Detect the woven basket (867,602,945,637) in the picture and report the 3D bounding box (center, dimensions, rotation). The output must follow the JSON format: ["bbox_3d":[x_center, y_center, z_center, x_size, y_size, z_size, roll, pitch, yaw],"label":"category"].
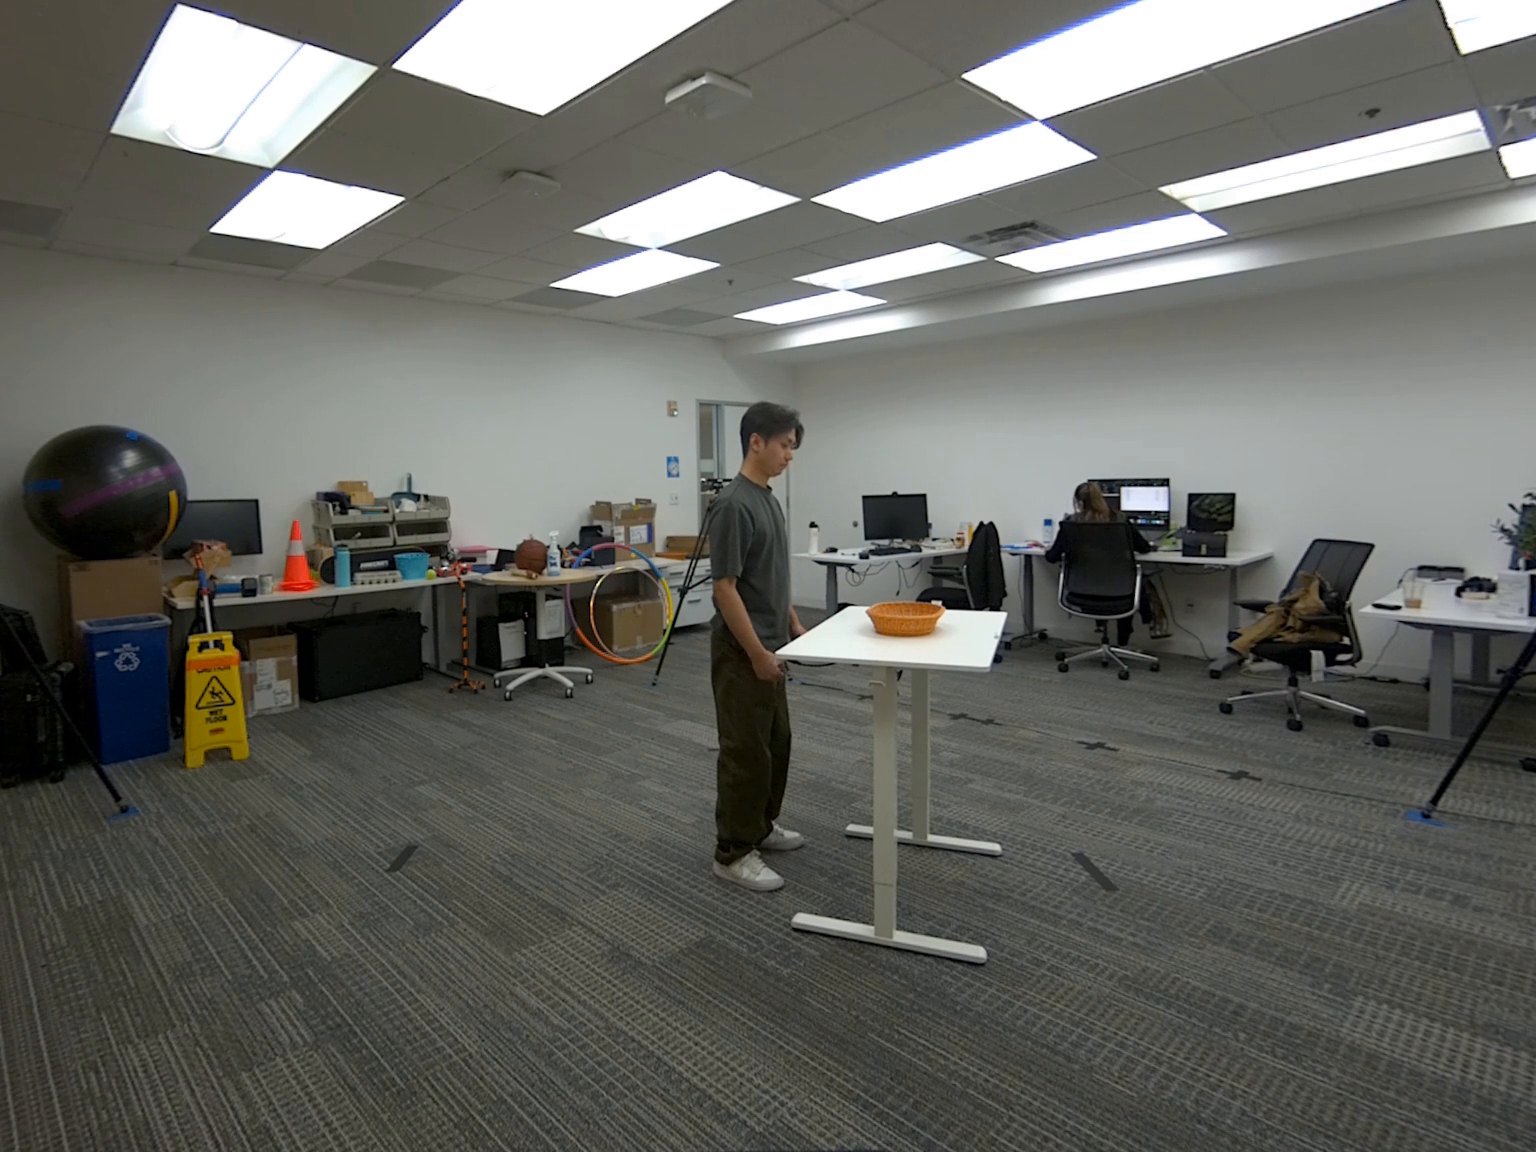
[{"bbox_3d":[0.468,0.151,2.866,0.258,0.073,0.344,2,6,25],"label":"woven basket"}]
